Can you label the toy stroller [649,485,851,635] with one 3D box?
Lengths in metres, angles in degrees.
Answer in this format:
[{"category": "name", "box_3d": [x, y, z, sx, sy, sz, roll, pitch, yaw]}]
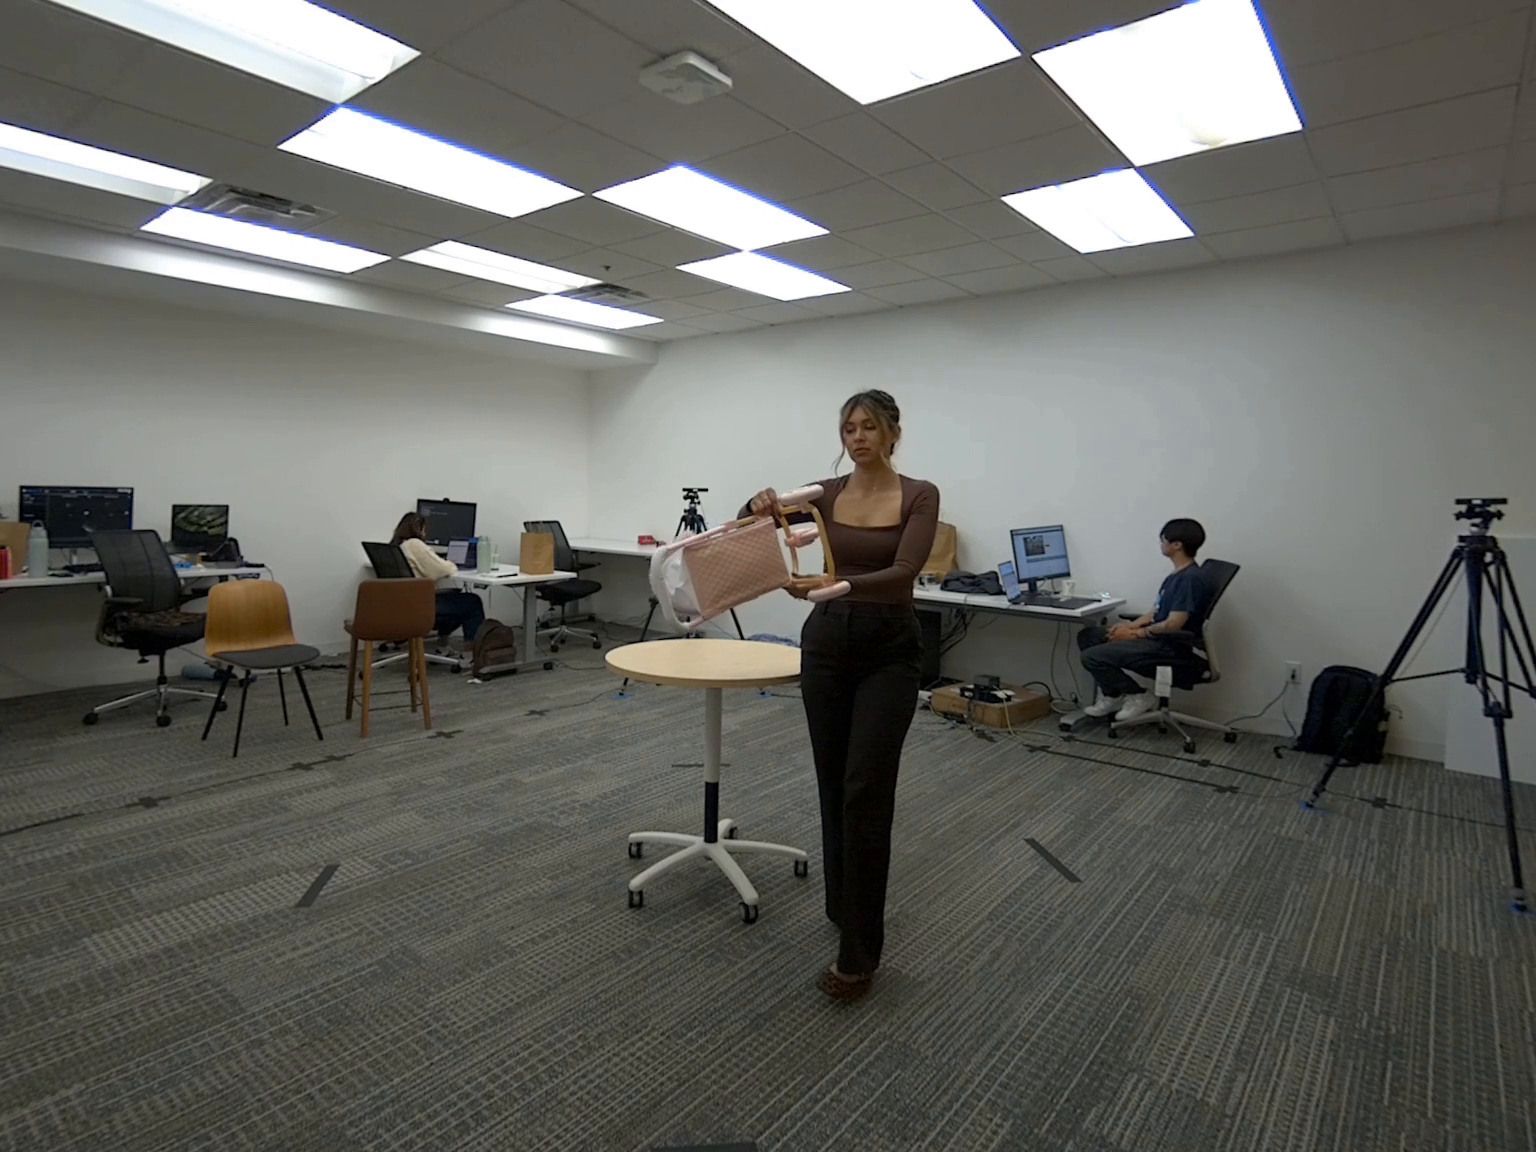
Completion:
[{"category": "toy stroller", "box_3d": [-0.071, -0.046, 2.156, 0.528, 0.279, 0.349, -17, 9, -17]}]
